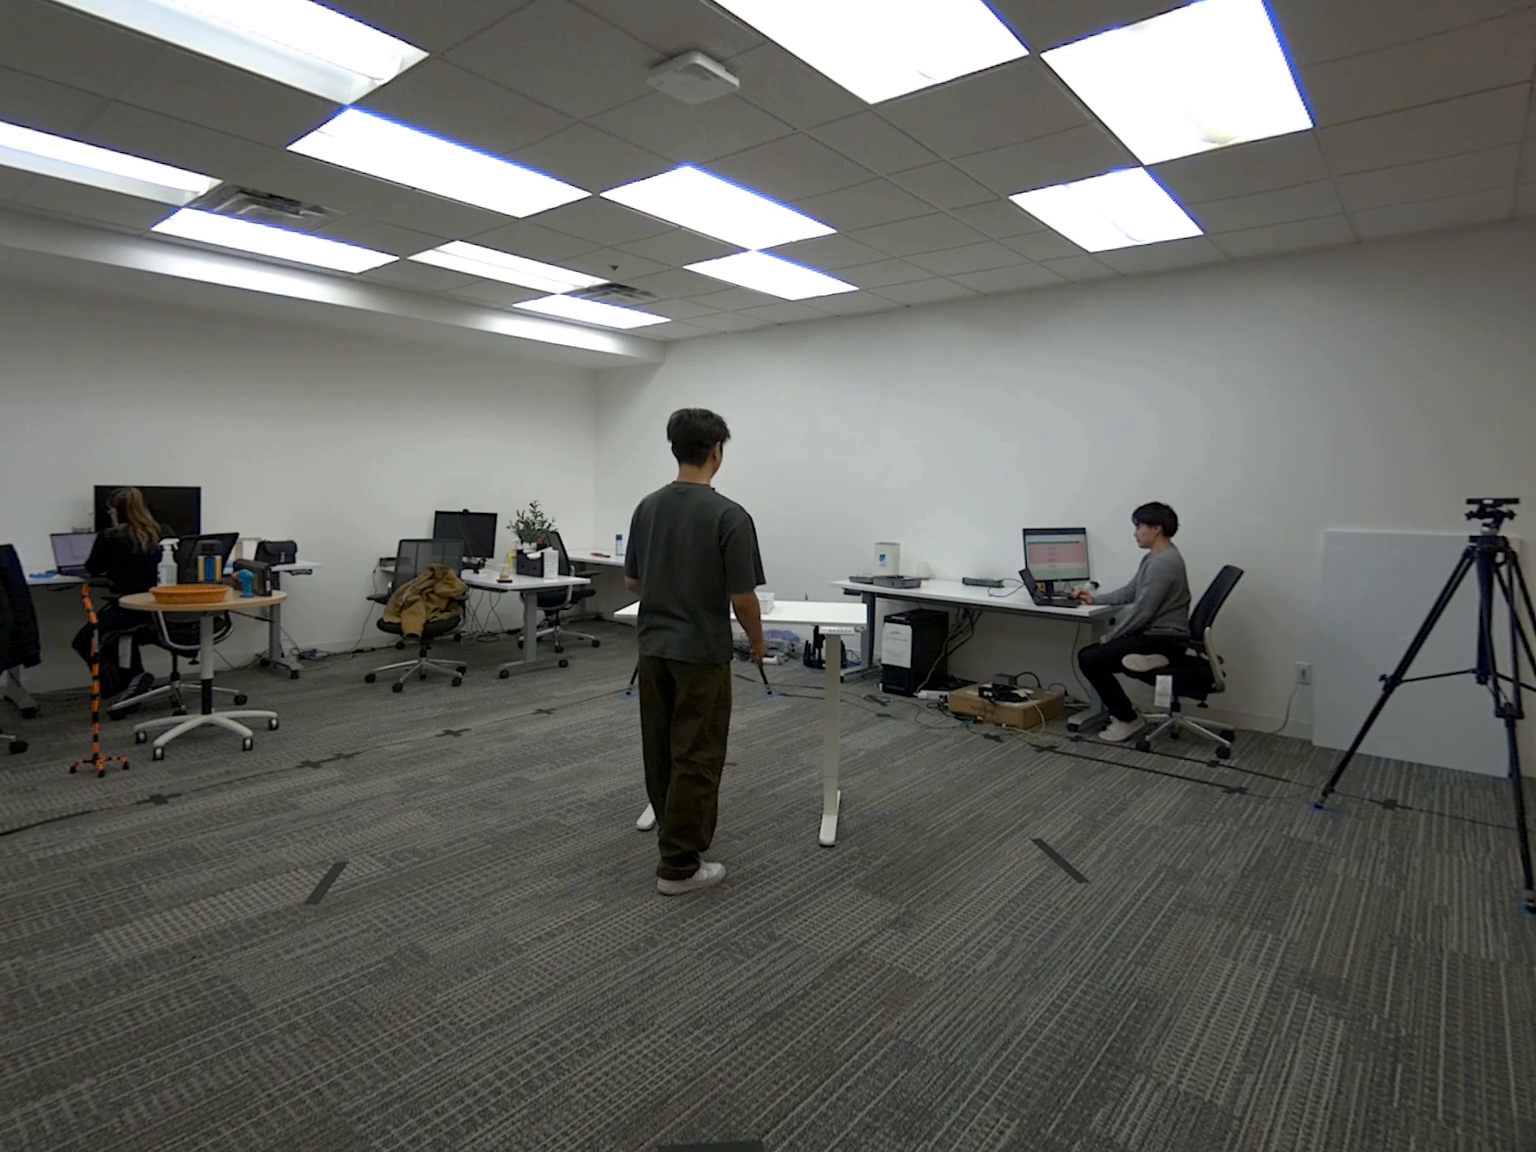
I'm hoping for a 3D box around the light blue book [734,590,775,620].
[{"bbox_3d":[-0.091,0.110,3.614,0.193,0.059,0.260,1,6,7],"label":"light blue book"}]
